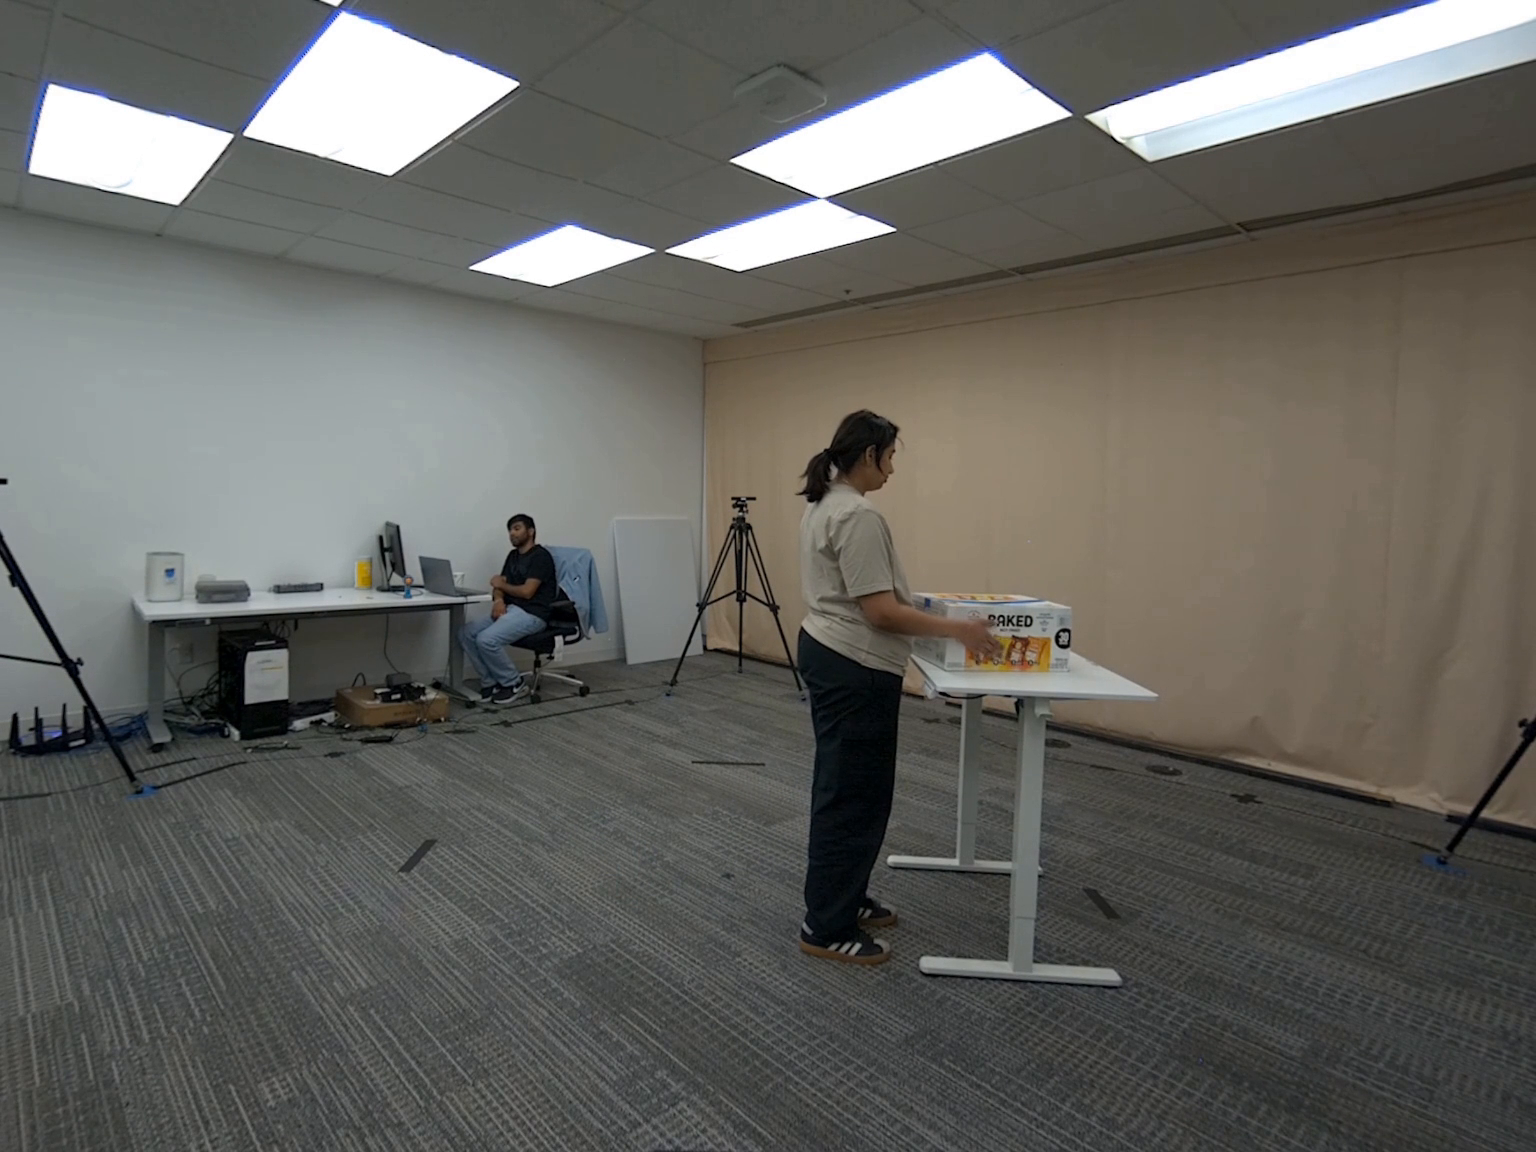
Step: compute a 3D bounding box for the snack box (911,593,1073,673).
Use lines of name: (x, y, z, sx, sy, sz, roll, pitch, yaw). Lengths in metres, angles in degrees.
snack box: (0.700, 0.177, 2.734, 0.402, 0.205, 0.344, 1, 4, -10)
